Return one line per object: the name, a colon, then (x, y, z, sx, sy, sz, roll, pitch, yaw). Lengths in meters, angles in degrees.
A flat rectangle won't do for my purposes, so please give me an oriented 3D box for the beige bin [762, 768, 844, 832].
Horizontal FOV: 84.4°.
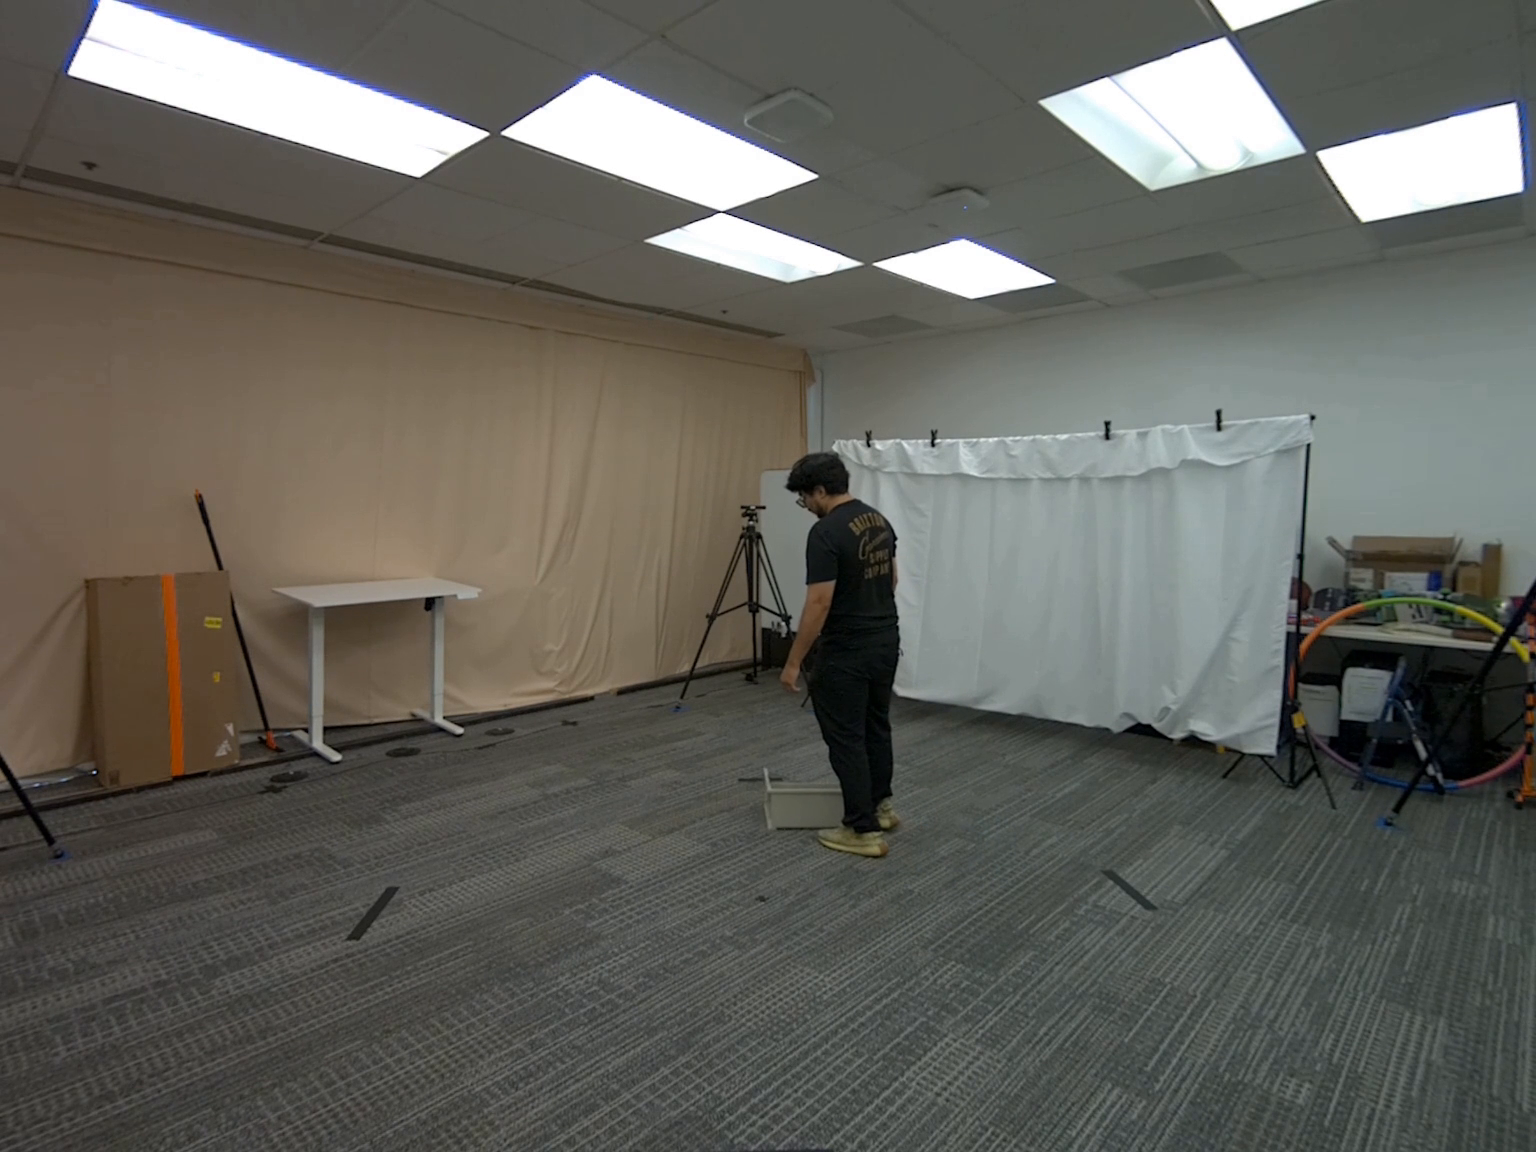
beige bin: (0.199, 0.993, 3.793, 0.422, 0.188, 0.379, 0, 5, -2)
